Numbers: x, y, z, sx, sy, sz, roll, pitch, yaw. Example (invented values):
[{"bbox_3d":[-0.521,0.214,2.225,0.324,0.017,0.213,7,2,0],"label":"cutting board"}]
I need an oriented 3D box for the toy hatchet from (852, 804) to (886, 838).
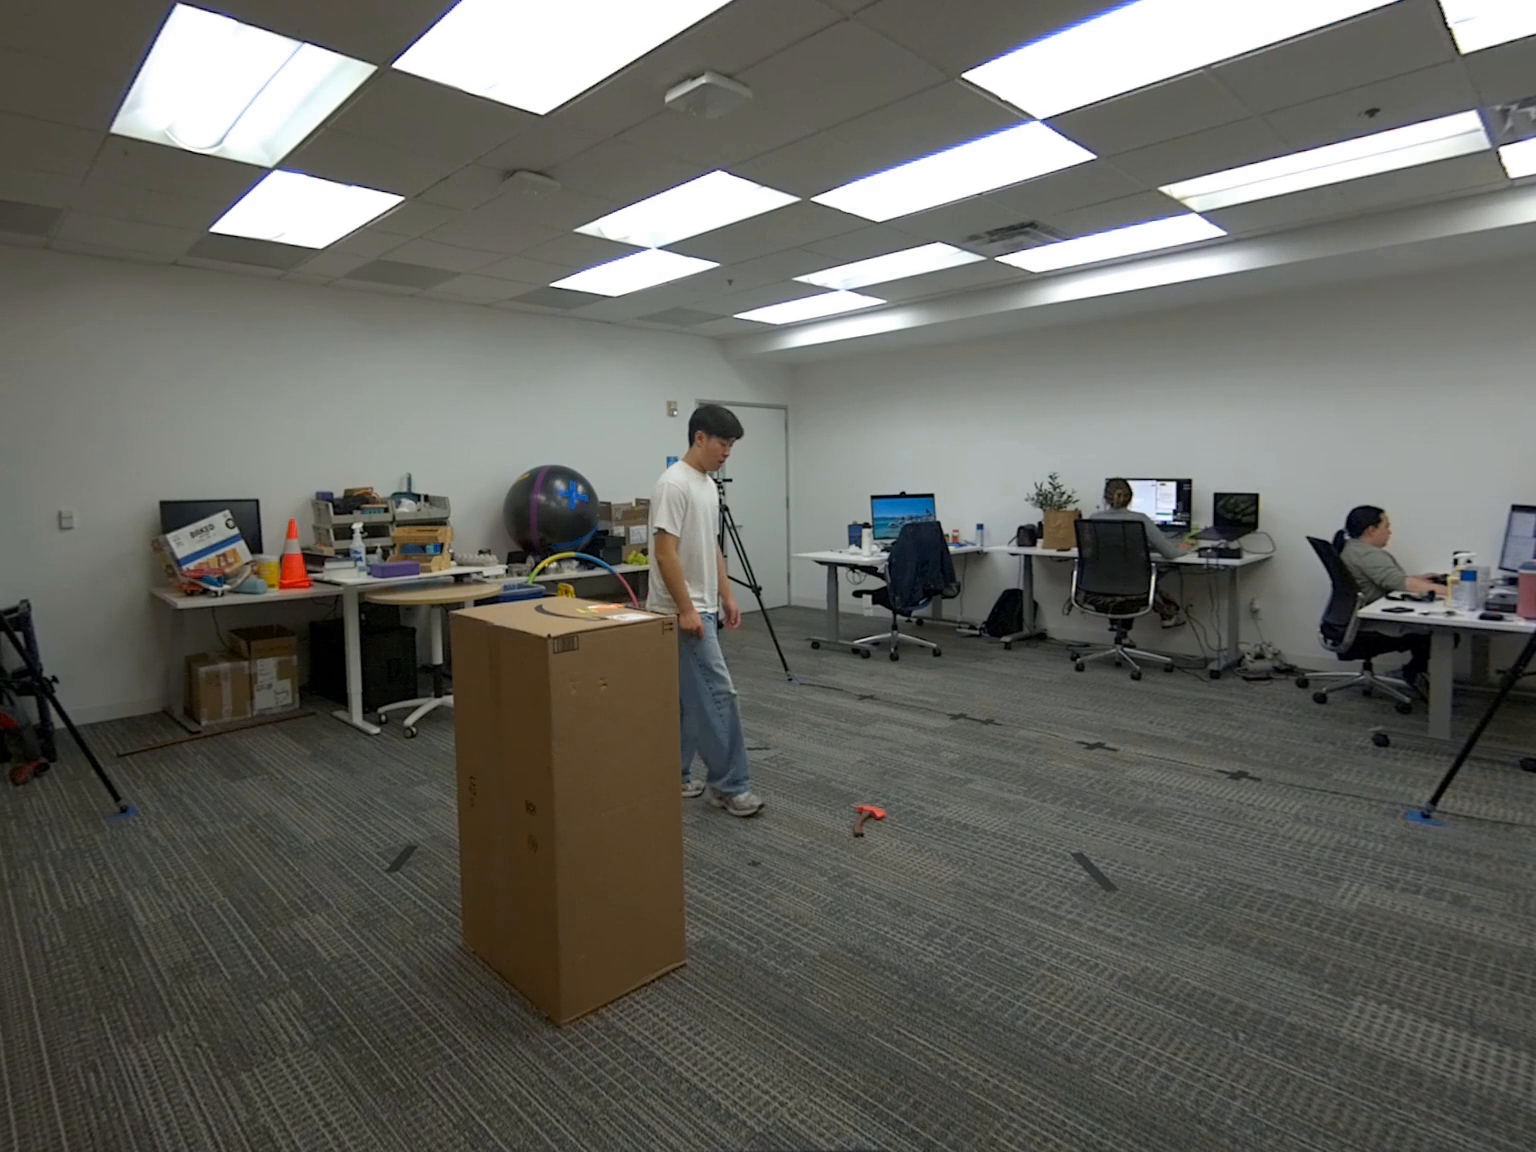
[{"bbox_3d":[0.414,0.988,3.438,0.132,0.029,0.269,1,9,7],"label":"toy hatchet"}]
